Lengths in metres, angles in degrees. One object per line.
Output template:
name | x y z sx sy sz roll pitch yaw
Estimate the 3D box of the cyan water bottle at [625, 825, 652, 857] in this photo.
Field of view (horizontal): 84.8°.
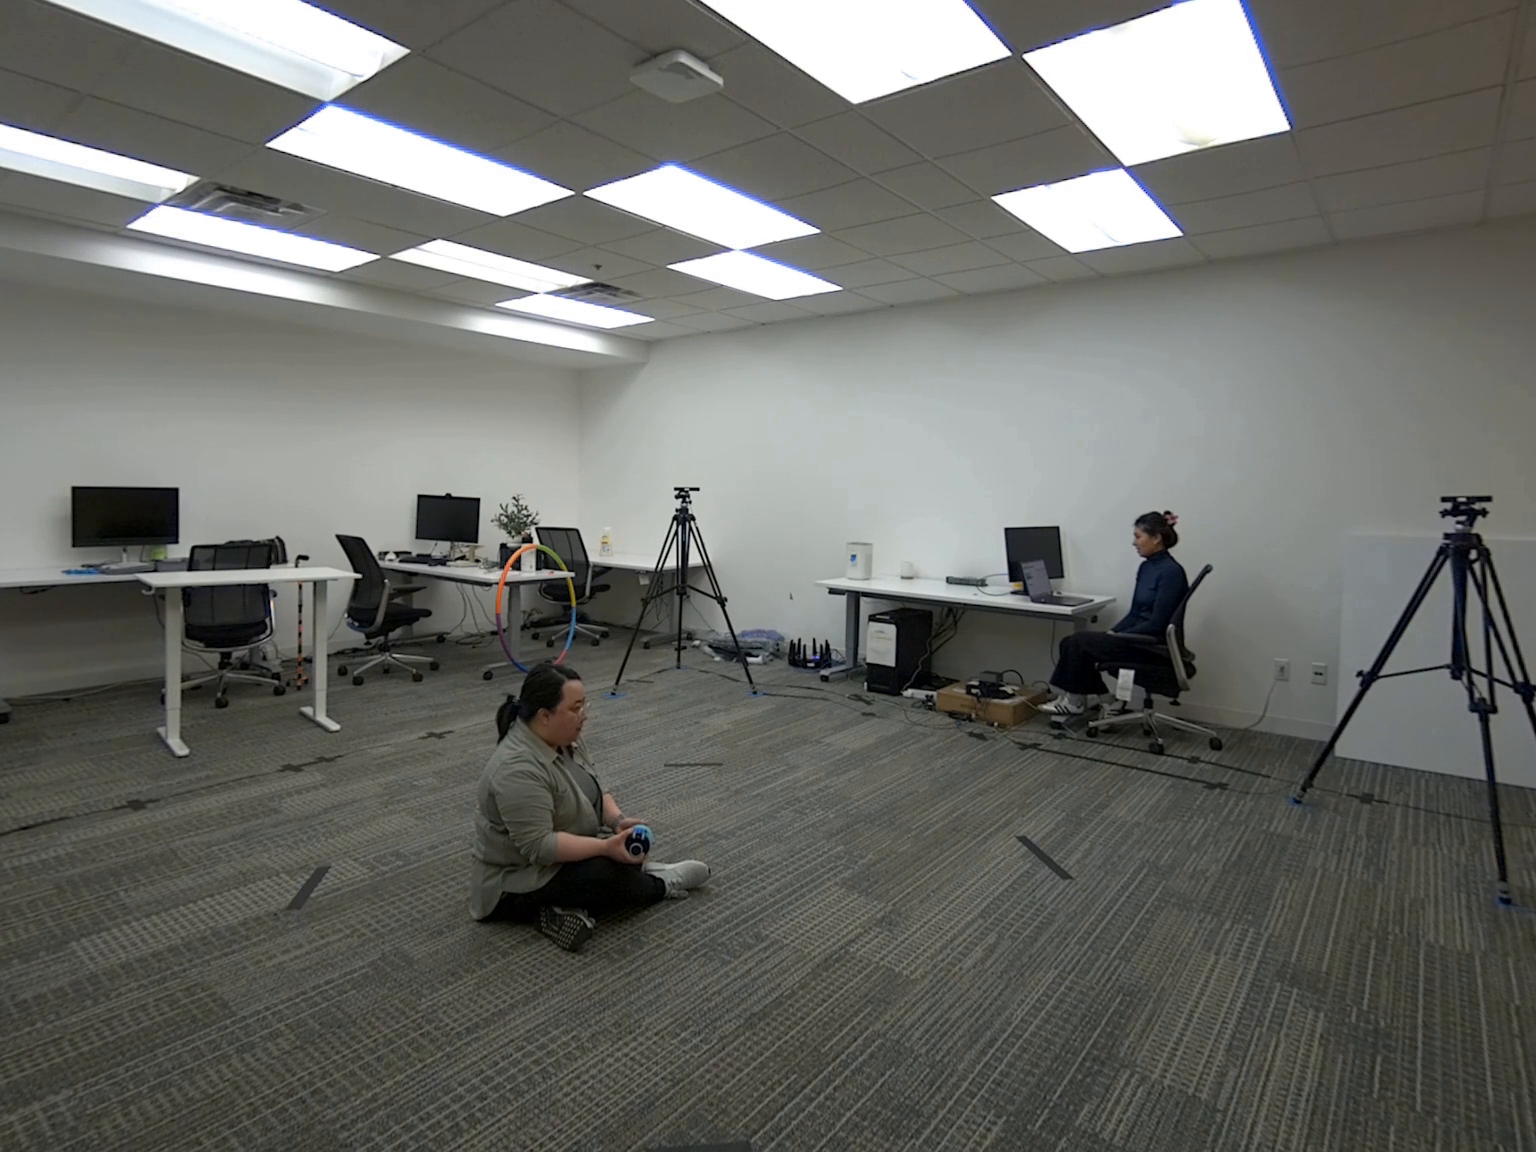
cyan water bottle | -0.434 0.863 2.735 0.092 0.093 0.280 1 -13 -5
